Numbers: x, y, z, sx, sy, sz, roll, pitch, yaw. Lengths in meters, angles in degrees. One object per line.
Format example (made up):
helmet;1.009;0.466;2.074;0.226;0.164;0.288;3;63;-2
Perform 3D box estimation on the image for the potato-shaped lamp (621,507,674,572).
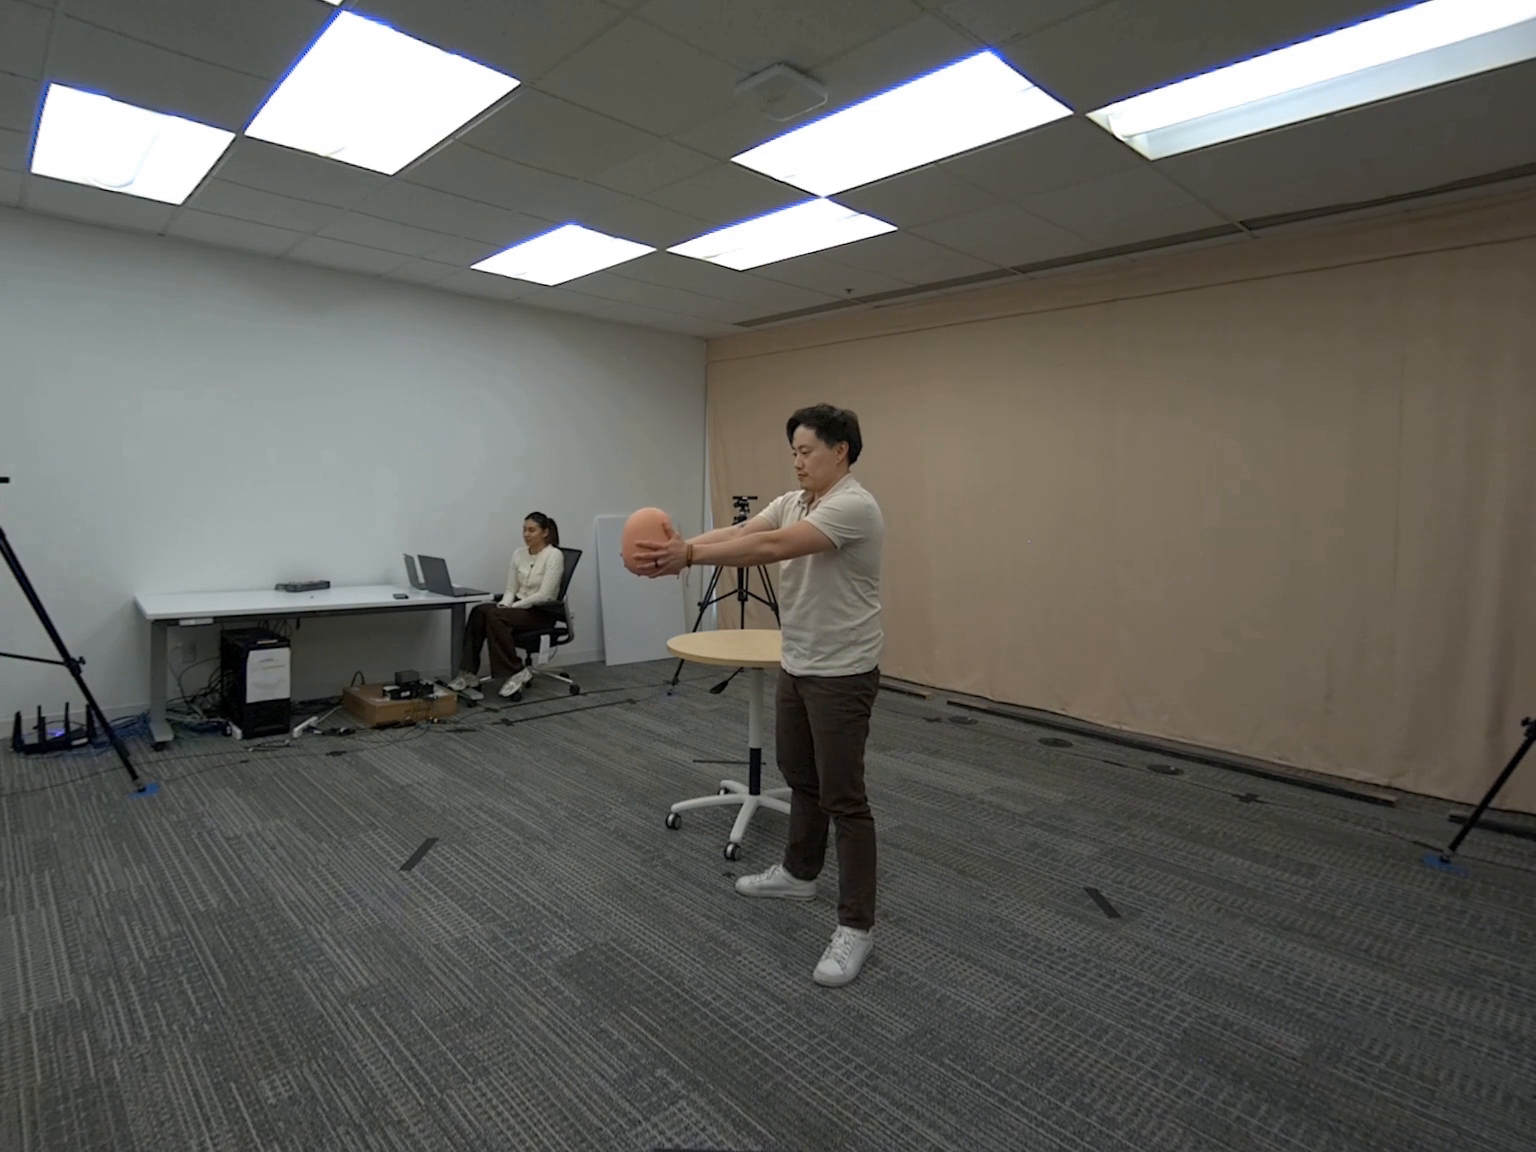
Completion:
potato-shaped lamp;-0.337;-0.098;2.447;0.169;0.198;0.167;-5;3;-23
